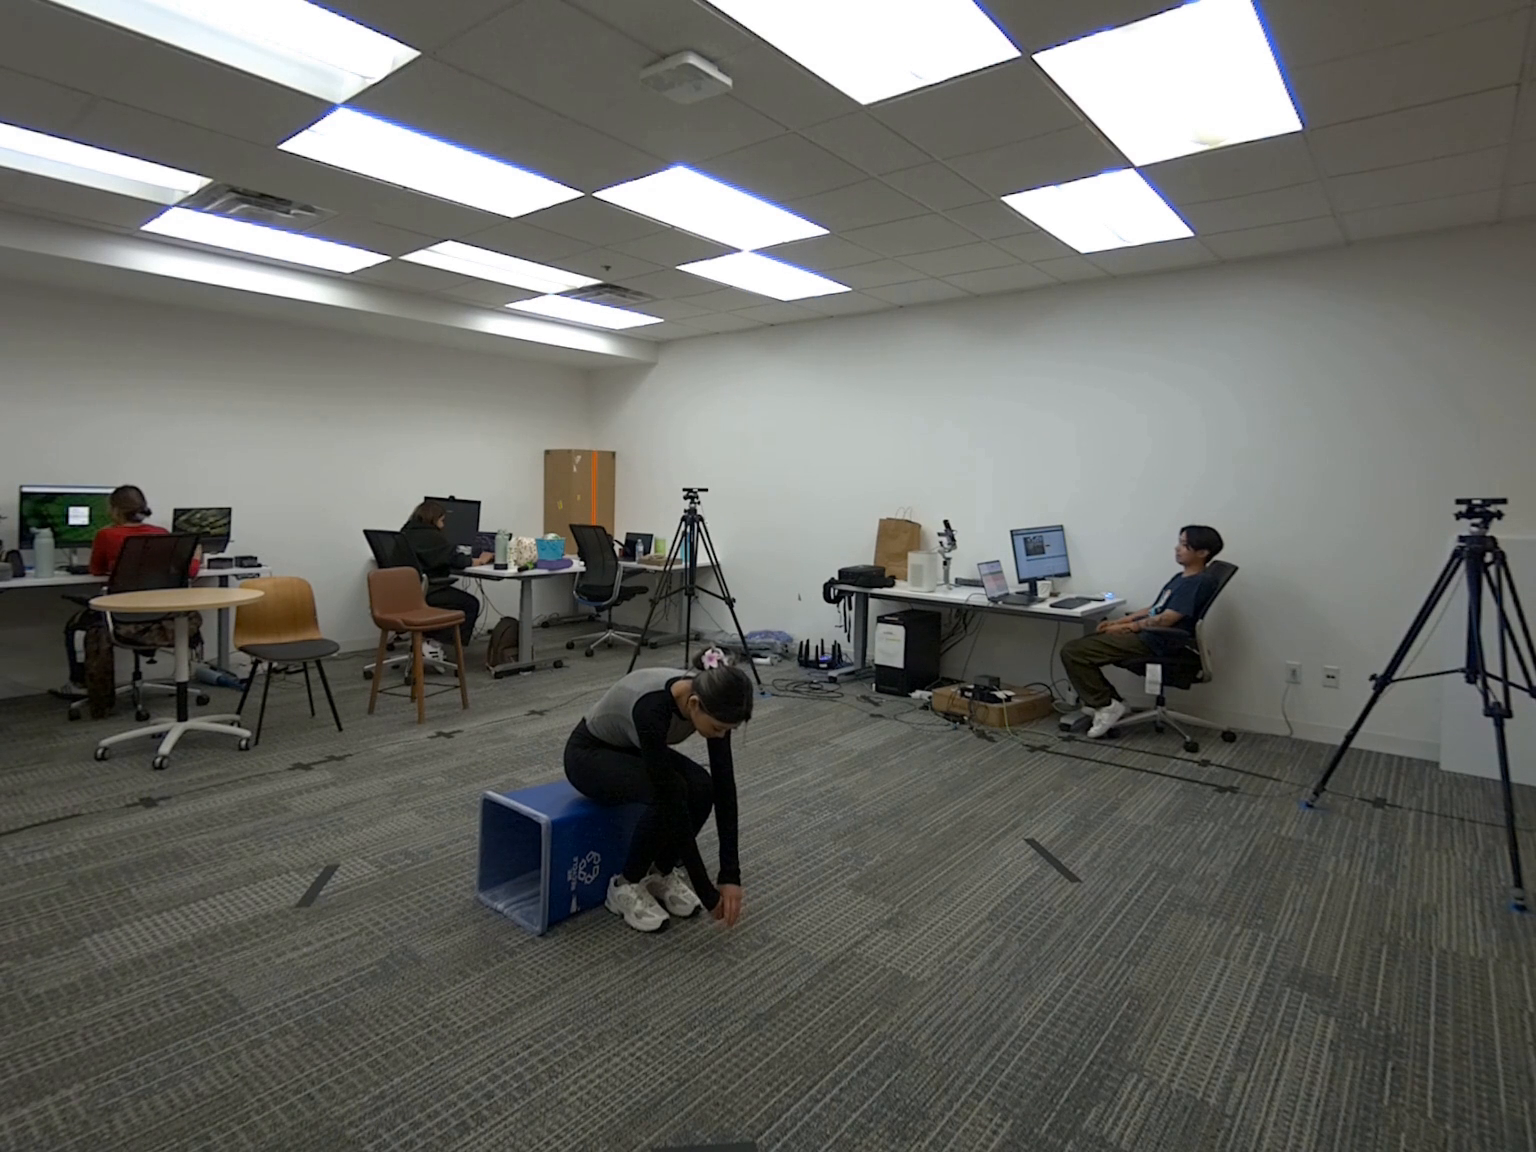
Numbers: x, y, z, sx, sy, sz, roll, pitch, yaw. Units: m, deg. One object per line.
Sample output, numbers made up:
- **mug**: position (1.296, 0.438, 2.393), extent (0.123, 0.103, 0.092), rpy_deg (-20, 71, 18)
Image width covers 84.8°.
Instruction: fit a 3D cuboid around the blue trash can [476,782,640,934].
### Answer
- **blue trash can**: position (-0.628, 0.897, 2.999), extent (0.391, 0.373, 0.692), rpy_deg (4, 4, 39)
